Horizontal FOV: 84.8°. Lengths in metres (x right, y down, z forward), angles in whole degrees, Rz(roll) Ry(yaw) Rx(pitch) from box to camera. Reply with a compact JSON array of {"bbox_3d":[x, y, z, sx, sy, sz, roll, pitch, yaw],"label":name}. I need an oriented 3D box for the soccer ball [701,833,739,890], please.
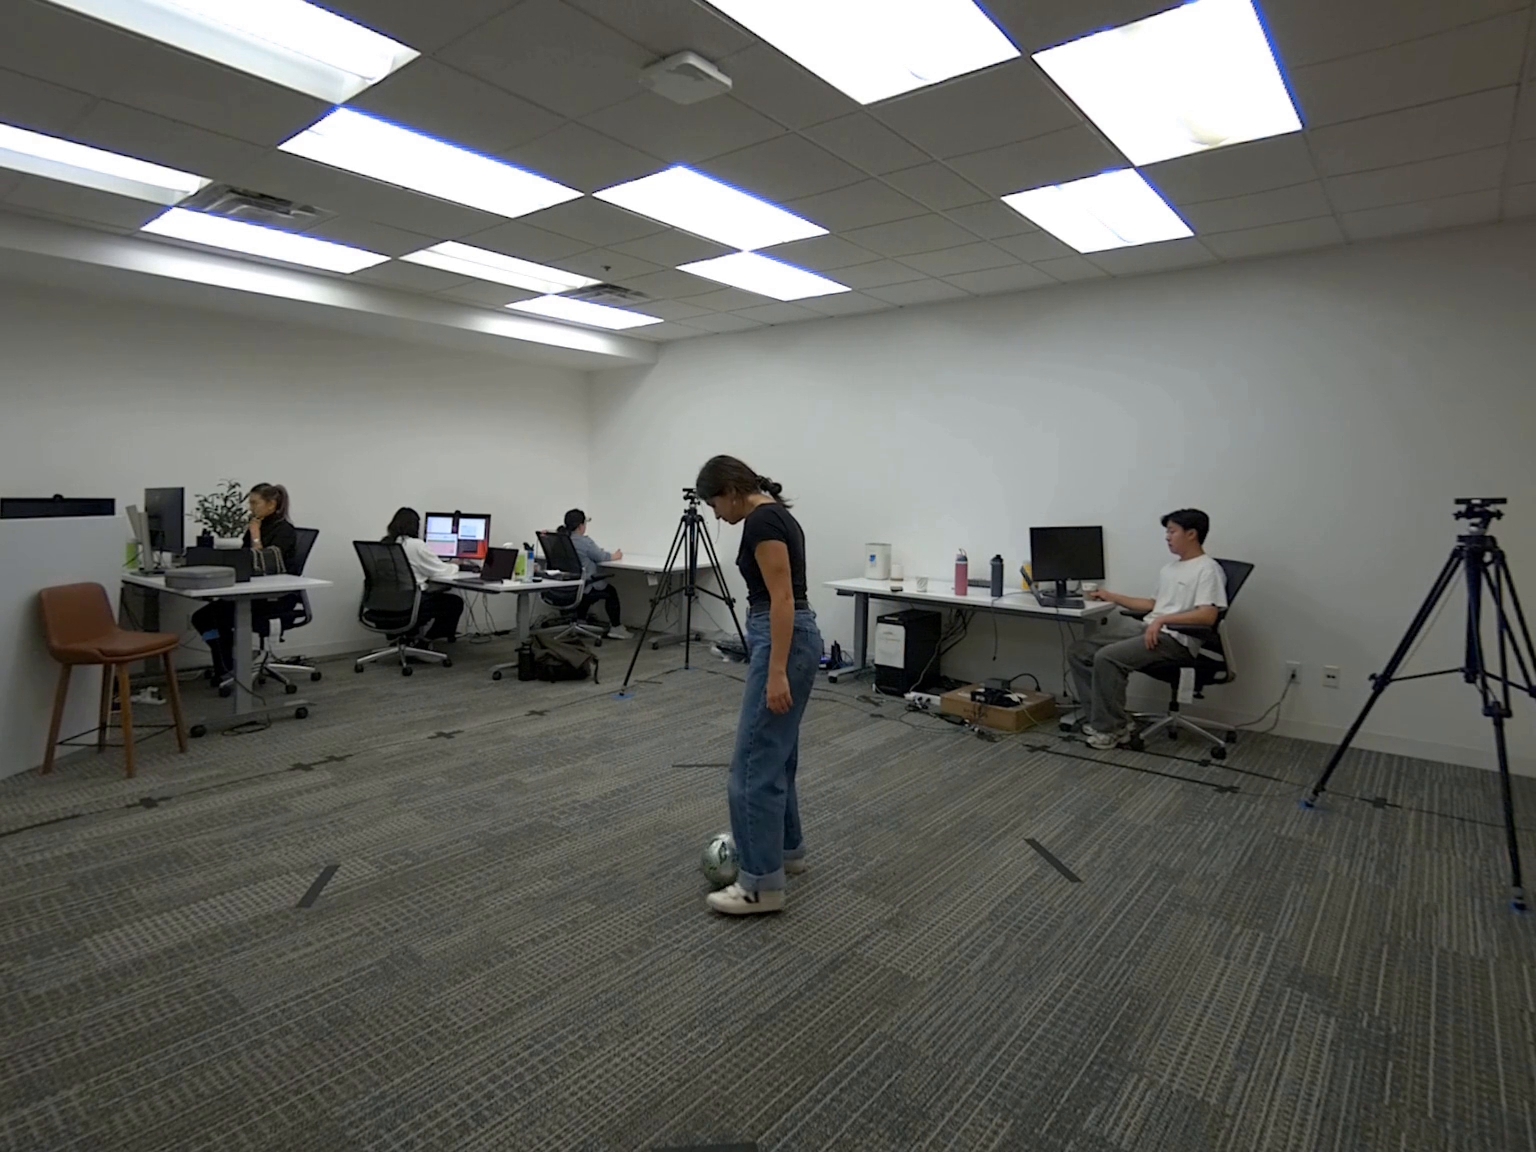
[{"bbox_3d":[-0.146,0.982,2.999,0.187,0.187,0.188,1,4,-2],"label":"soccer ball"}]
